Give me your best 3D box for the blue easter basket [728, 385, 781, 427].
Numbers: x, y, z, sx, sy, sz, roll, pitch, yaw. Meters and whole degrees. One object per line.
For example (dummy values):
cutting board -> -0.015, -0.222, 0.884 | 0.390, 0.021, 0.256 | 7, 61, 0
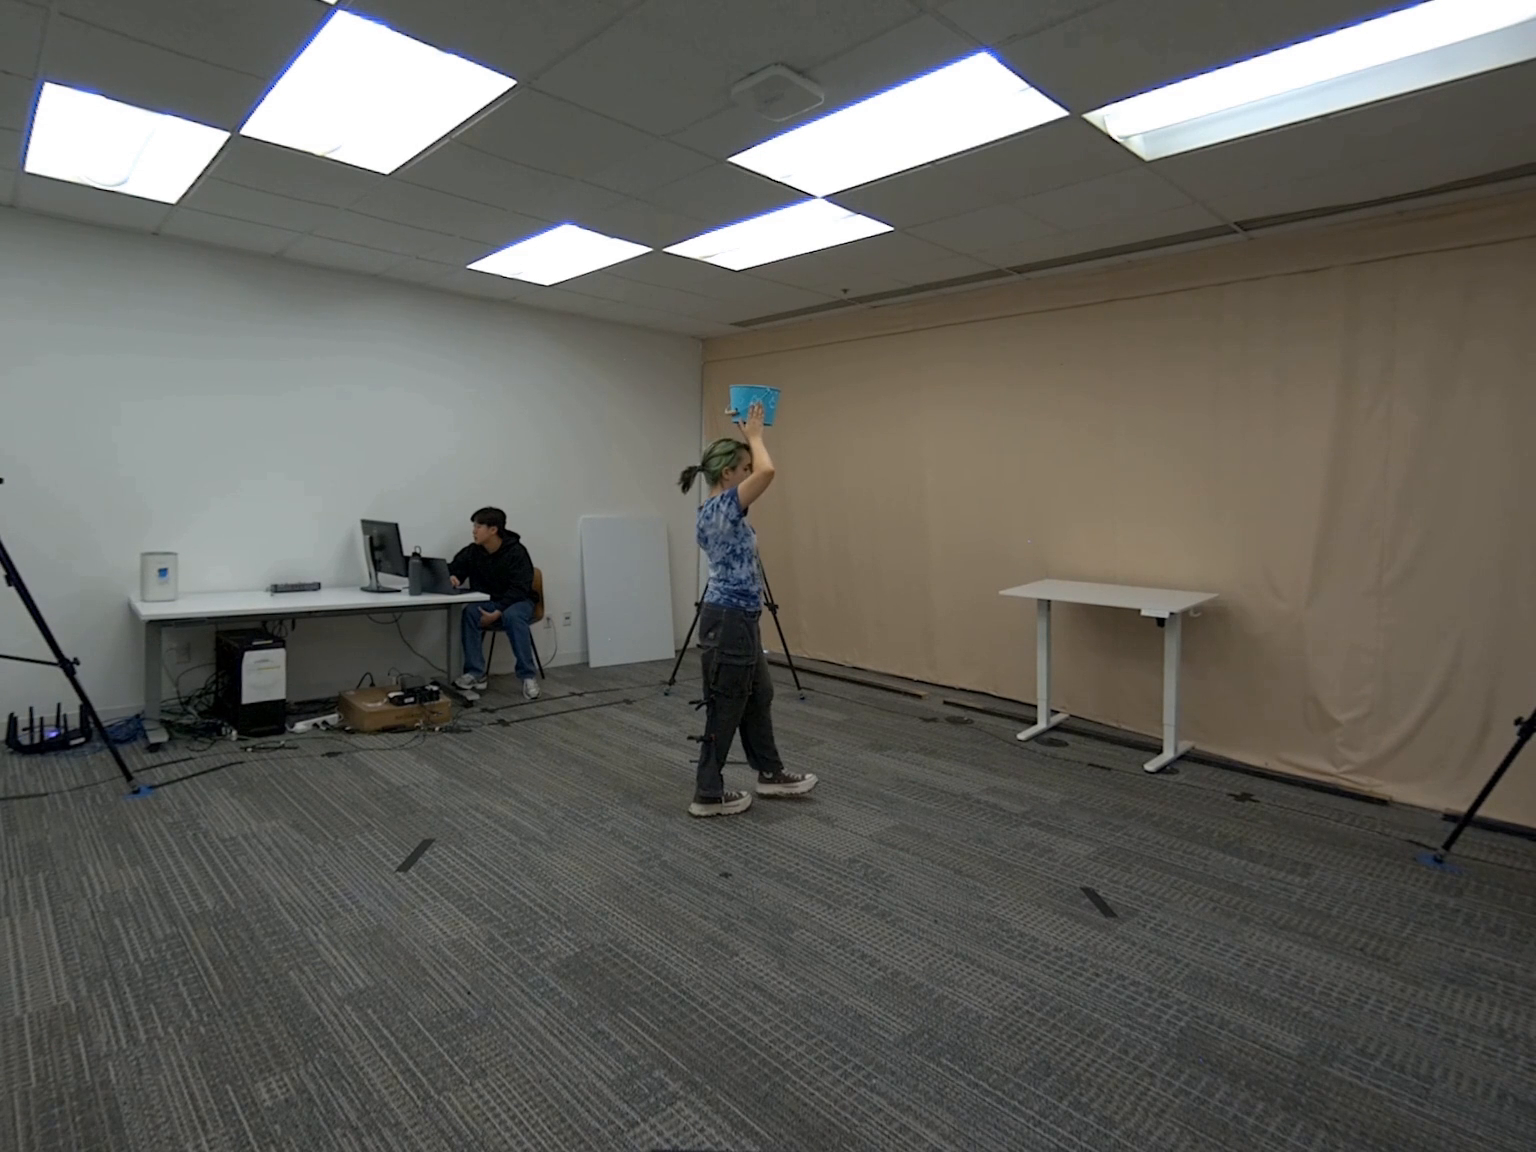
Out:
blue easter basket -> -0.069, -0.746, 3.681 | 0.243, 0.155, 0.244 | 7, 4, -2
